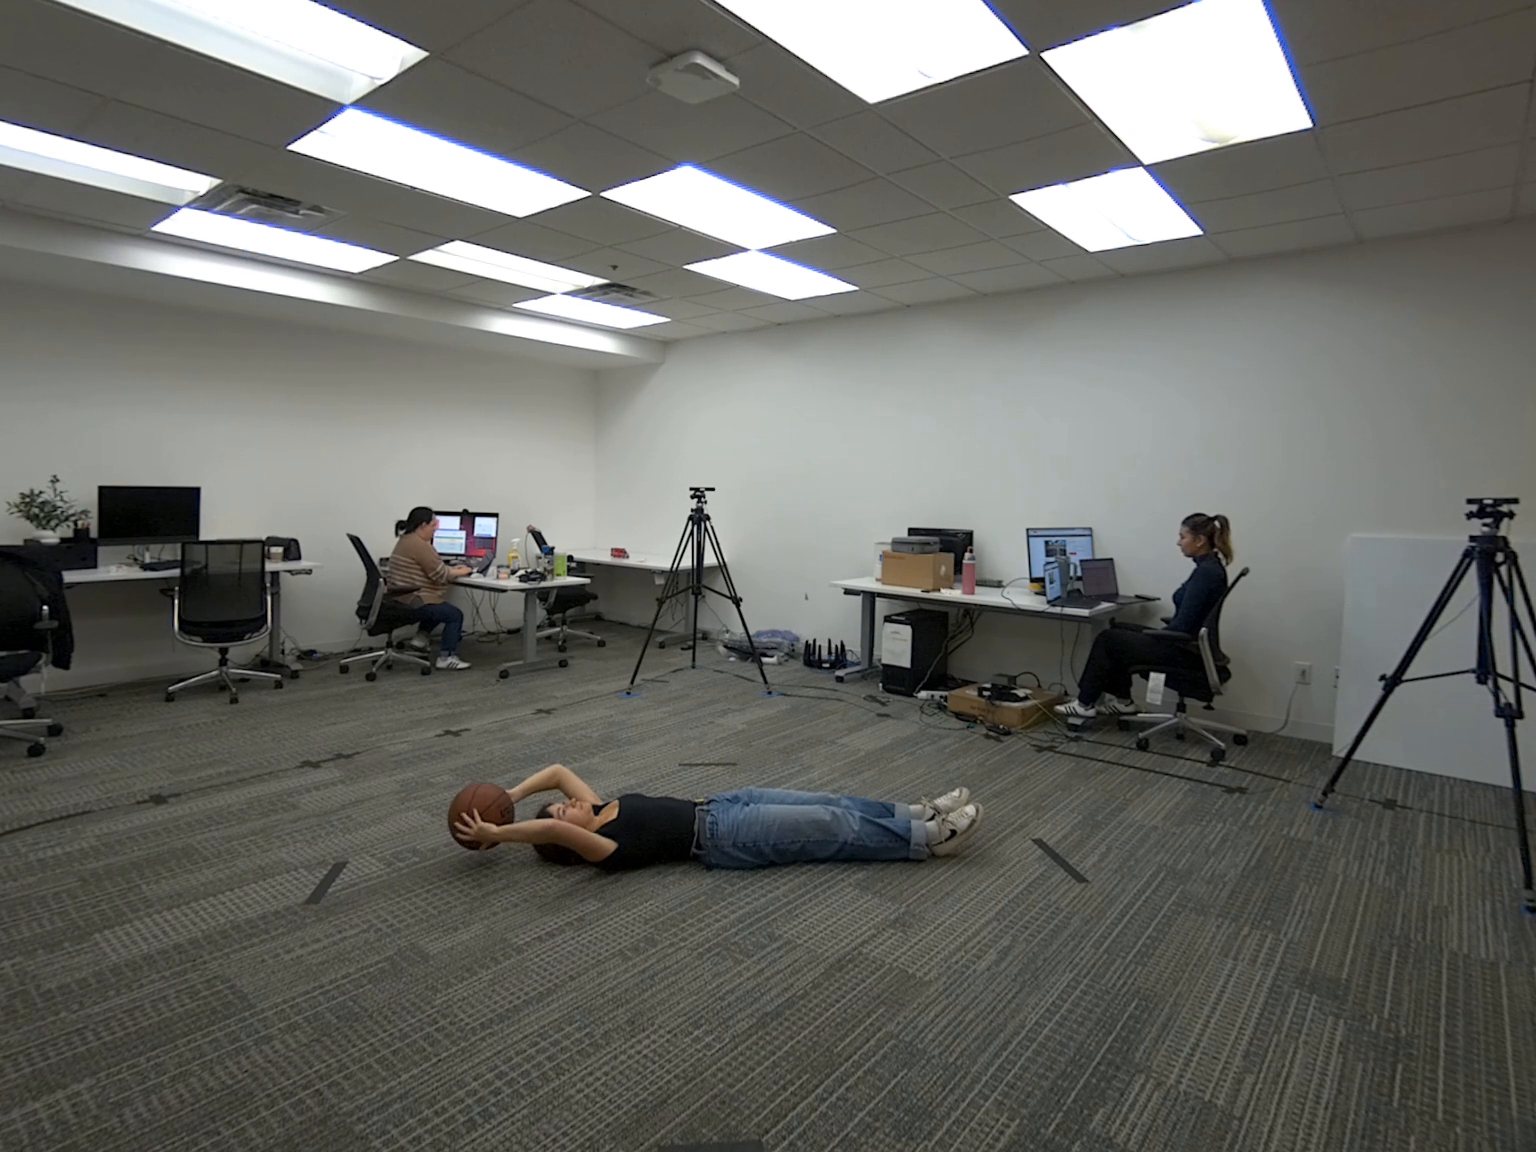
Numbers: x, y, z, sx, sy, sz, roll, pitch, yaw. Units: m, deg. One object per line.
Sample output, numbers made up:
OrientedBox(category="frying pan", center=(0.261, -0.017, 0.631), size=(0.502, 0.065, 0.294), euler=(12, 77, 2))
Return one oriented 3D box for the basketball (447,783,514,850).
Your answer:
OrientedBox(category="basketball", center=(-1.066, 0.875, 3.118), size=(0.235, 0.235, 0.237), euler=(1, 4, -2))
